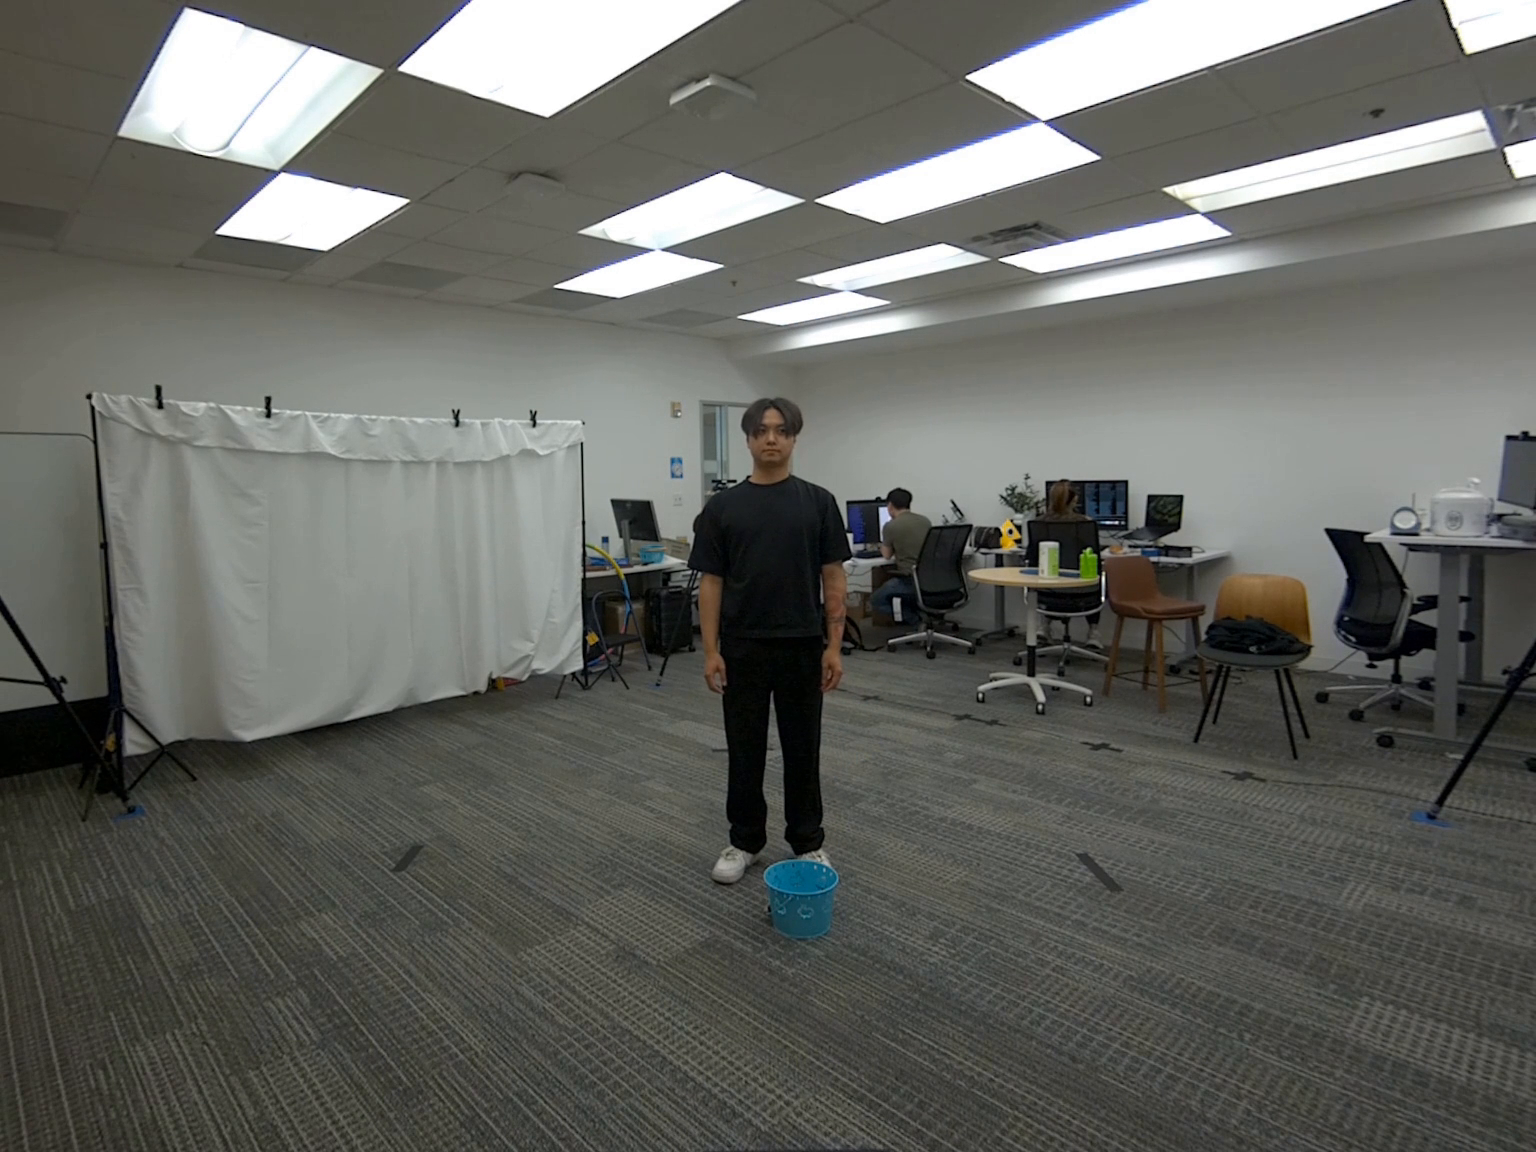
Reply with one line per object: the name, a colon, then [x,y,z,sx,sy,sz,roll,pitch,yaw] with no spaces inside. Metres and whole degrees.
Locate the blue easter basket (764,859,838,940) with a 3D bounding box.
blue easter basket: [0.108,1.018,2.684,0.243,0.155,0.245,-1,6,-2]
